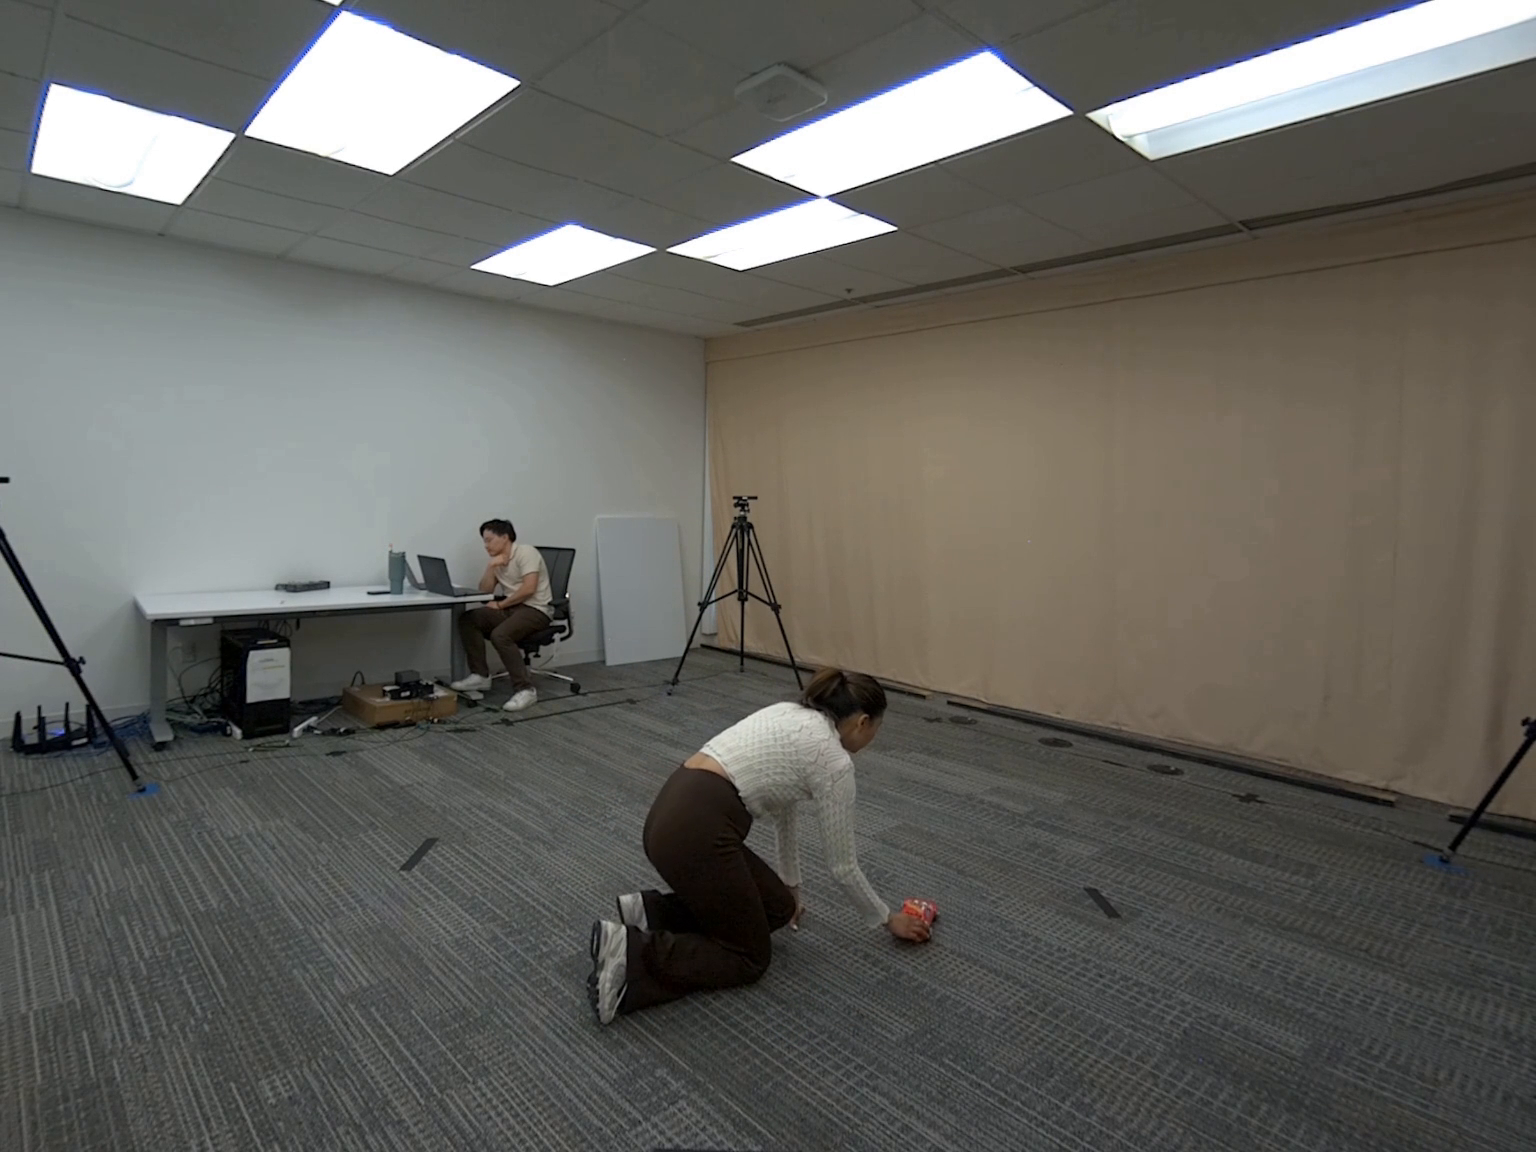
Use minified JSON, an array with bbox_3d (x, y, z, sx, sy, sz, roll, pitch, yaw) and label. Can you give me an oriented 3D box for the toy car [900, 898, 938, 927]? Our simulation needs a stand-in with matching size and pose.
[{"bbox_3d":[0.473,1.122,2.729,0.132,0.083,0.249,6,-4,21],"label":"toy car"}]
